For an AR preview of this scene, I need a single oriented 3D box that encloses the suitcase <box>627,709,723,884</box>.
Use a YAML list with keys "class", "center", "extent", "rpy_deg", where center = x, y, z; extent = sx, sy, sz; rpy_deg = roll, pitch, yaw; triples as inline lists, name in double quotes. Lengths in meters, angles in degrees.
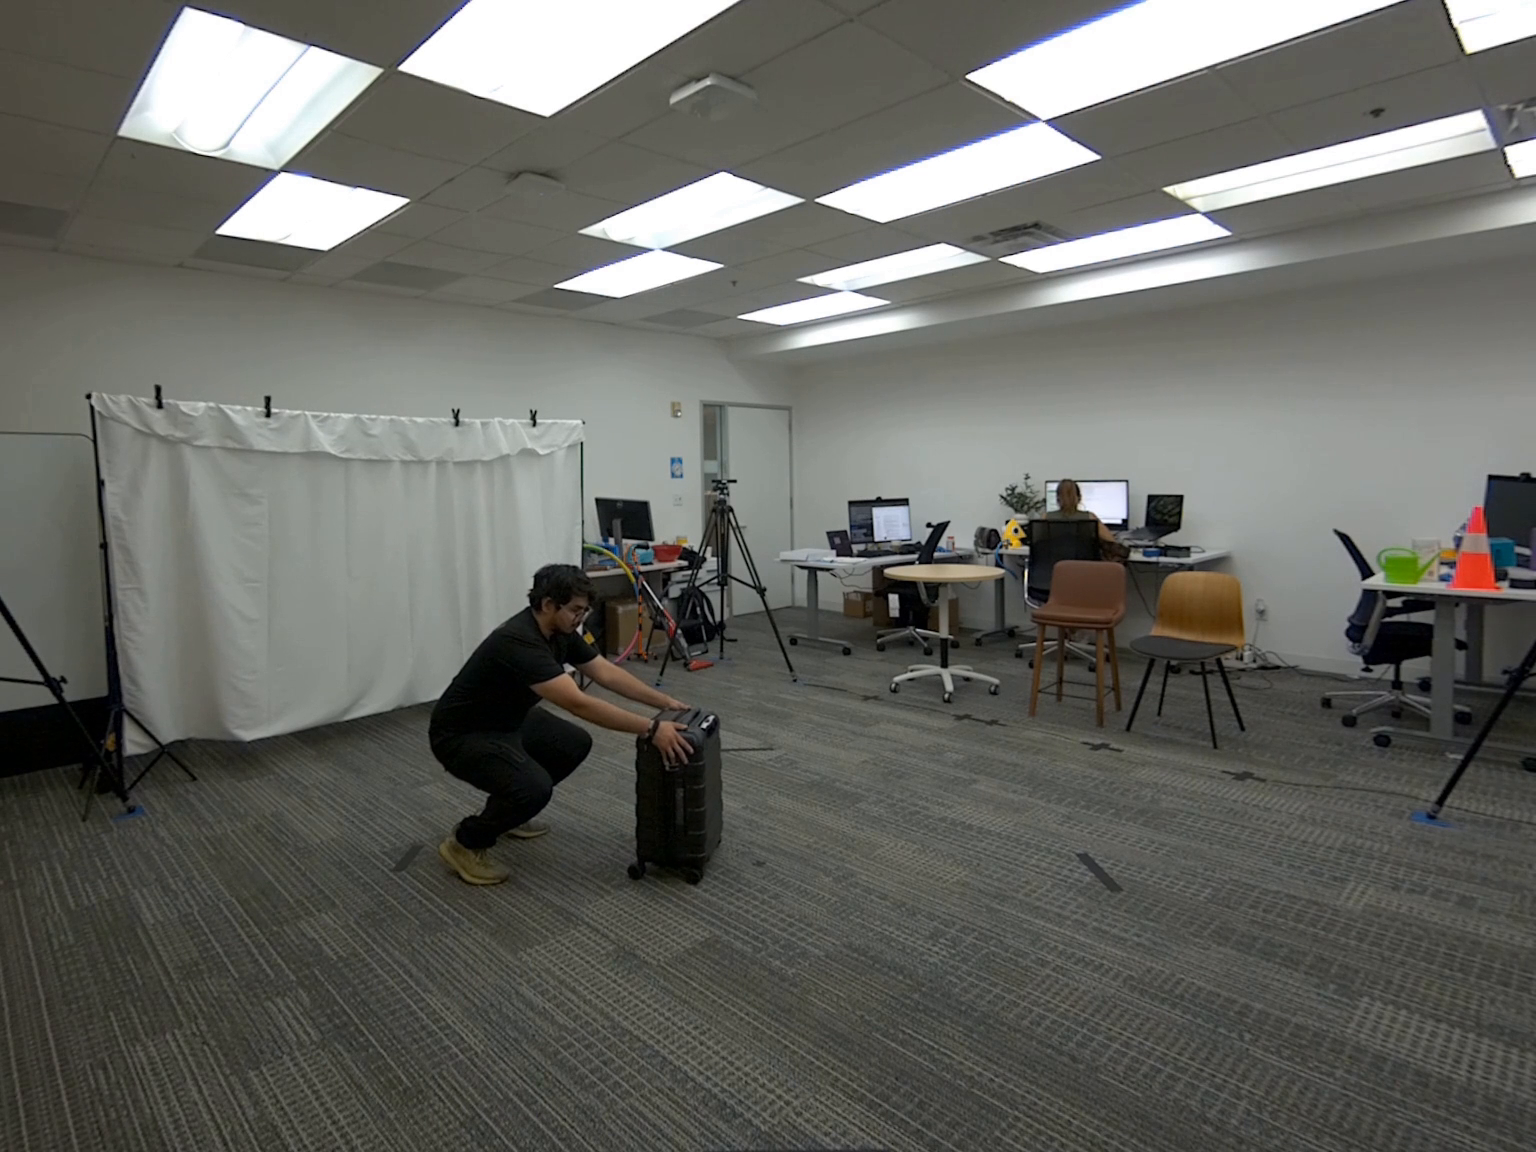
- class: "suitcase"
  center: [-0.326, 0.778, 3.115]
  extent: [0.251, 0.547, 0.373]
  rpy_deg: [1, 5, 10]
